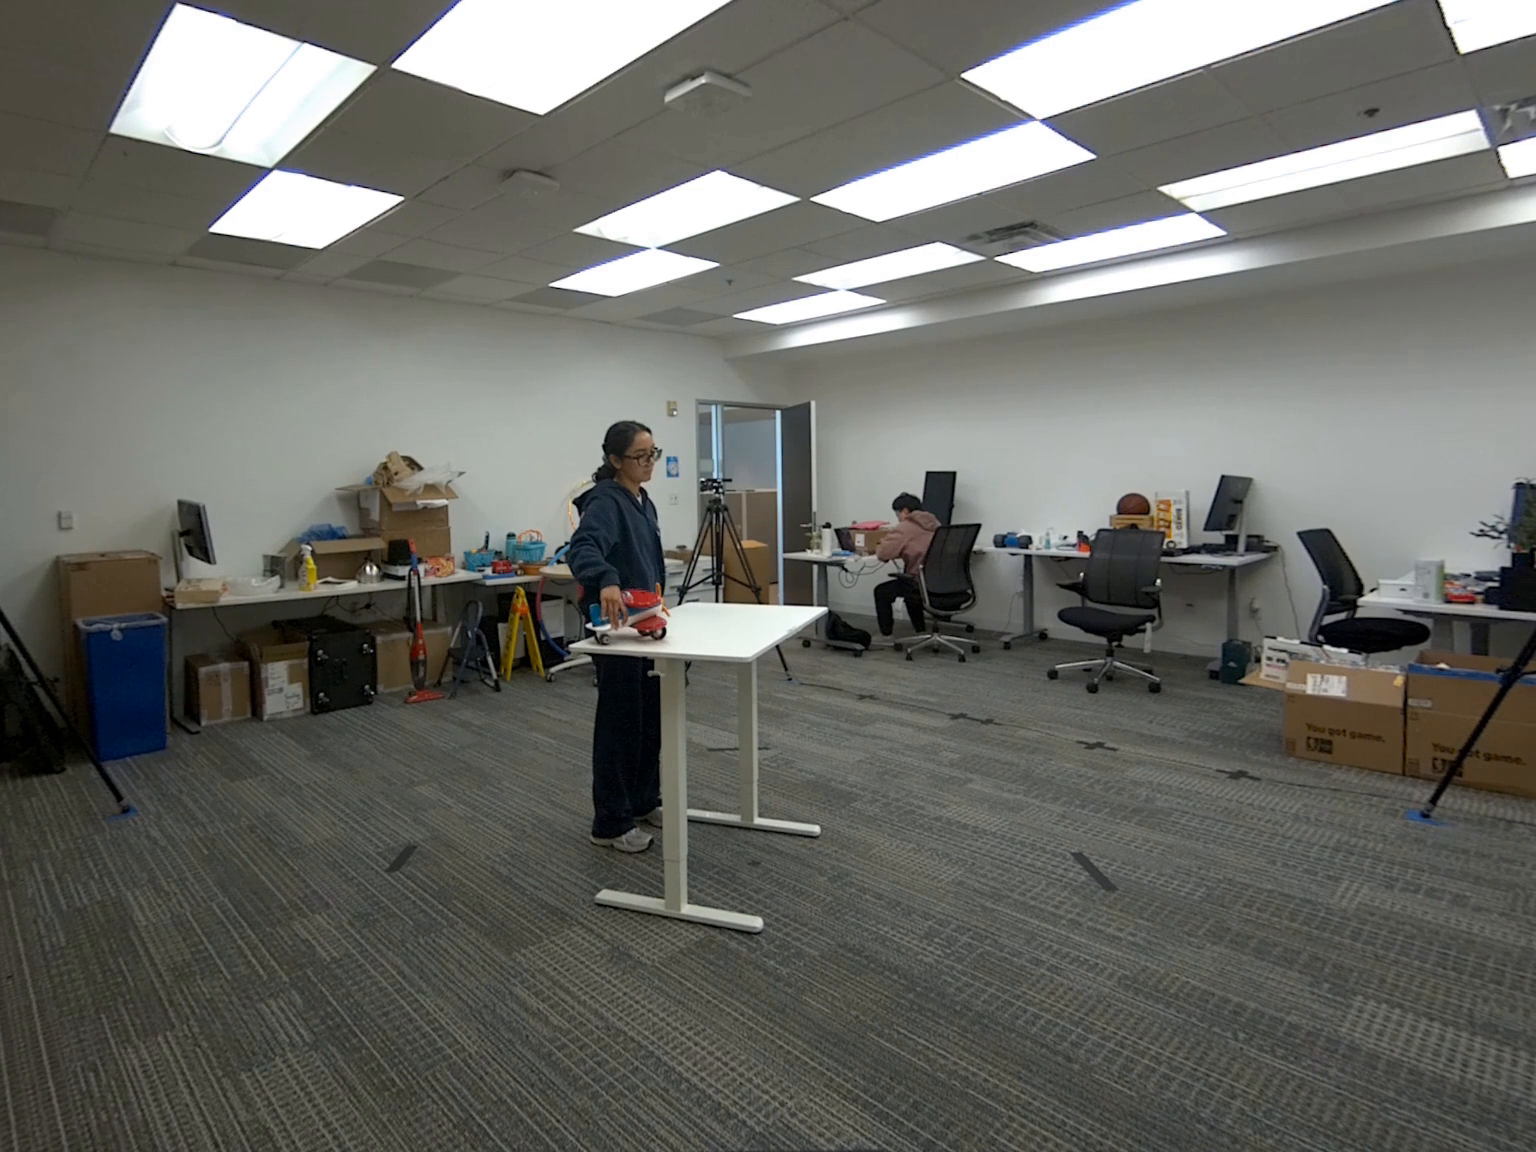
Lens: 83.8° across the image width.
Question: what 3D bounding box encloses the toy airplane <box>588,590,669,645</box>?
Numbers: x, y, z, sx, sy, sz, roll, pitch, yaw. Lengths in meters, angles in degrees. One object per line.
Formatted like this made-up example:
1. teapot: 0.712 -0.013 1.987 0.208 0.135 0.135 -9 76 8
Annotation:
1. toy airplane: -0.435 0.132 2.734 0.257 0.156 0.253 1 3 26
